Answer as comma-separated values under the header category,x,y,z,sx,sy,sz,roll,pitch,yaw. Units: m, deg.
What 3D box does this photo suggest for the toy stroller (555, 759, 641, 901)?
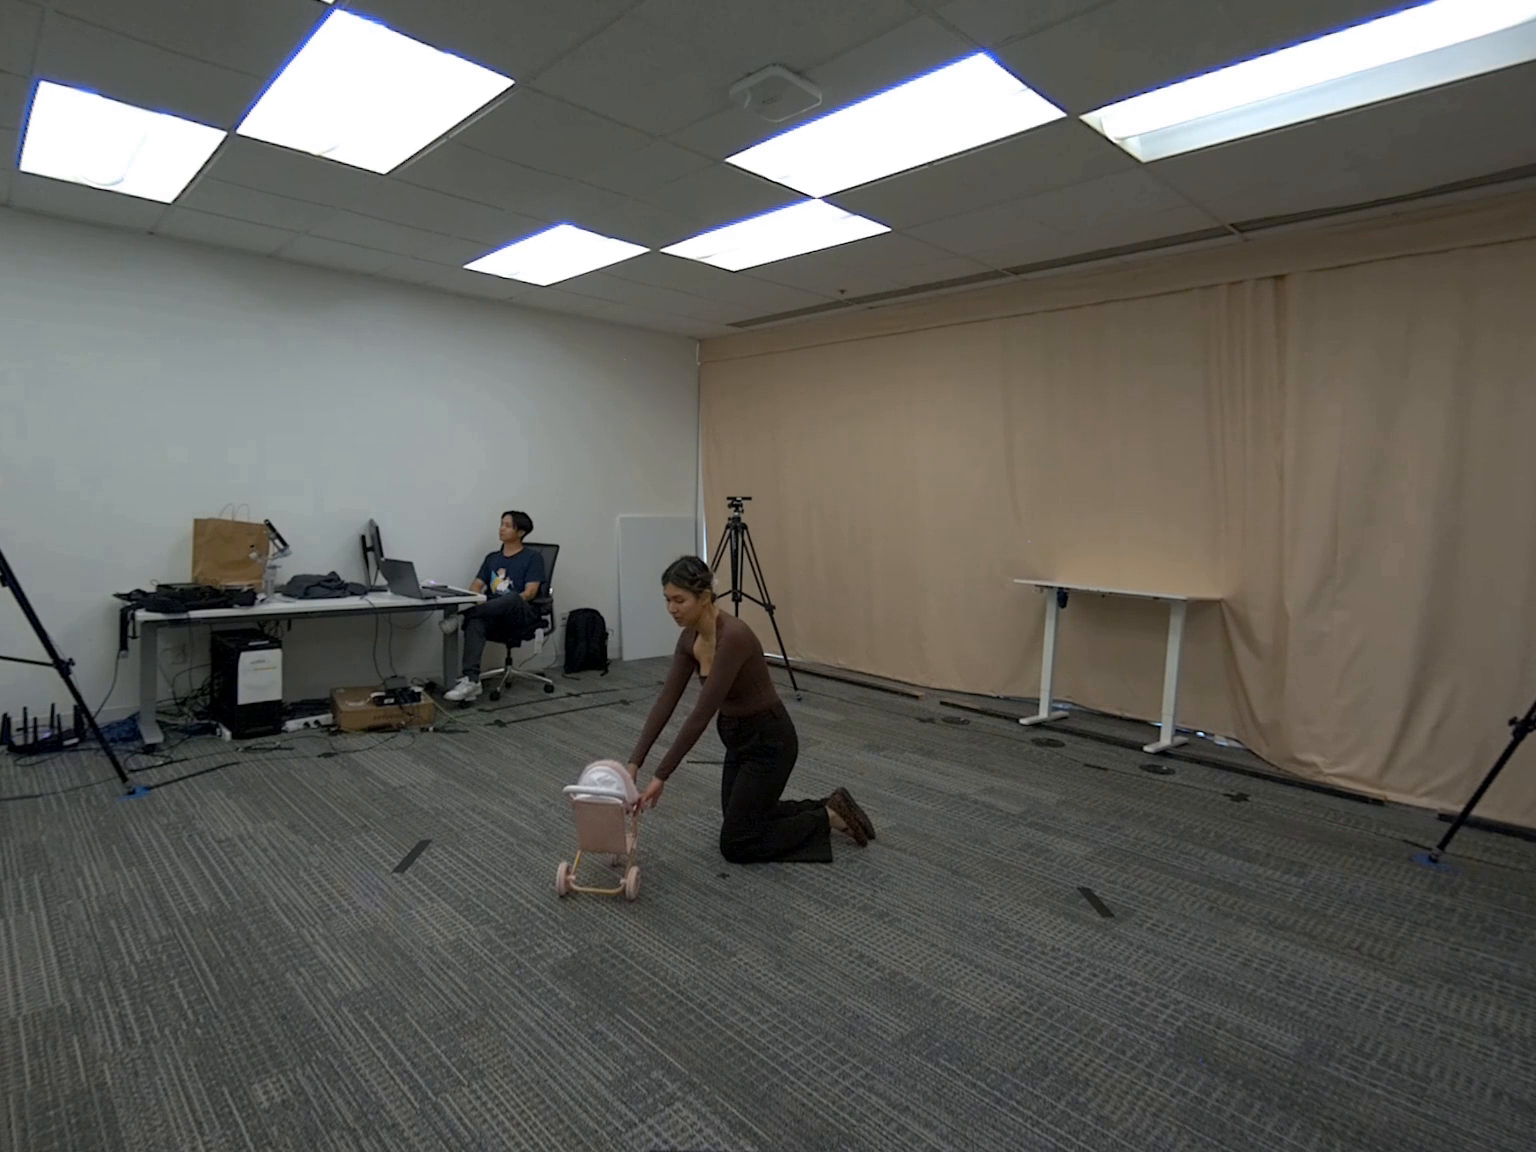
category,x,y,z,sx,sy,sz,roll,pitch,yaw
toy stroller,-0.578,0.881,2.975,0.283,0.528,0.344,3,19,7
